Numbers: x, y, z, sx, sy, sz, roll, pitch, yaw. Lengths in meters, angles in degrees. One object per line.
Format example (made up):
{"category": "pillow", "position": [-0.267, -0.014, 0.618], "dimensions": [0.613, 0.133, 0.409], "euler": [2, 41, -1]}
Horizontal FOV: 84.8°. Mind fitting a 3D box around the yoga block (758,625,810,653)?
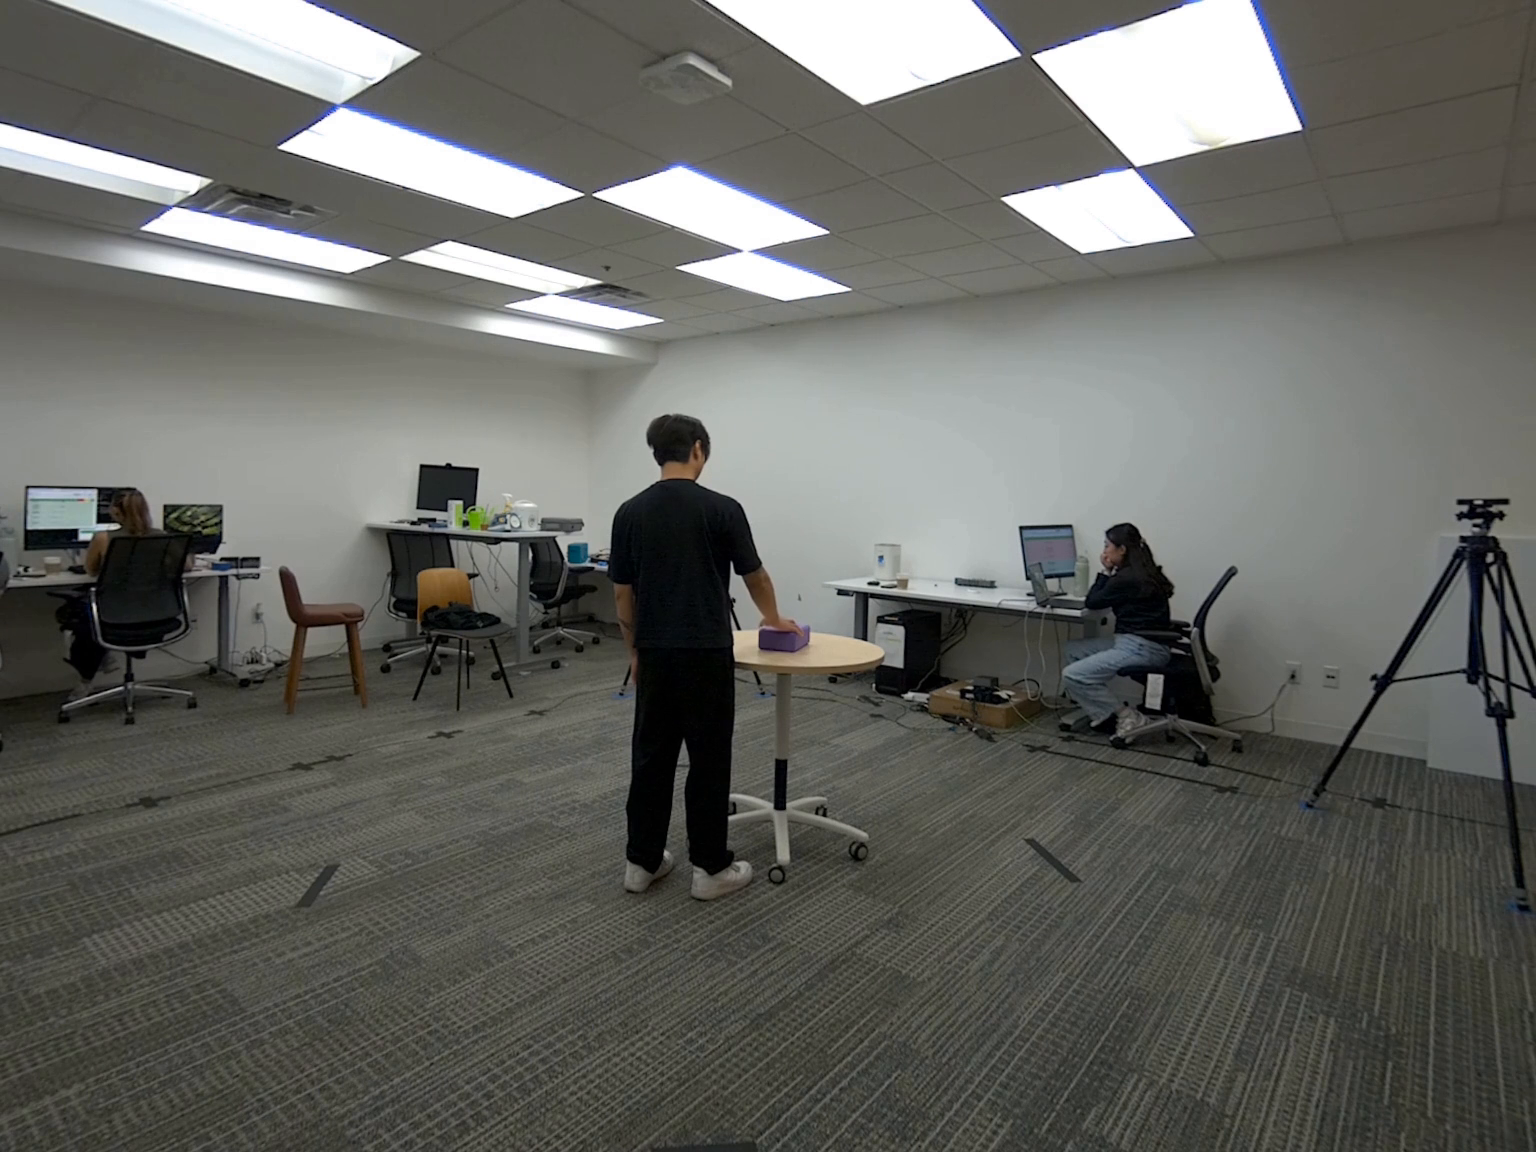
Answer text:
{"category": "yoga block", "position": [0.059, 0.234, 3.315], "dimensions": [0.152, 0.076, 0.225], "euler": [3, 5, 17]}
